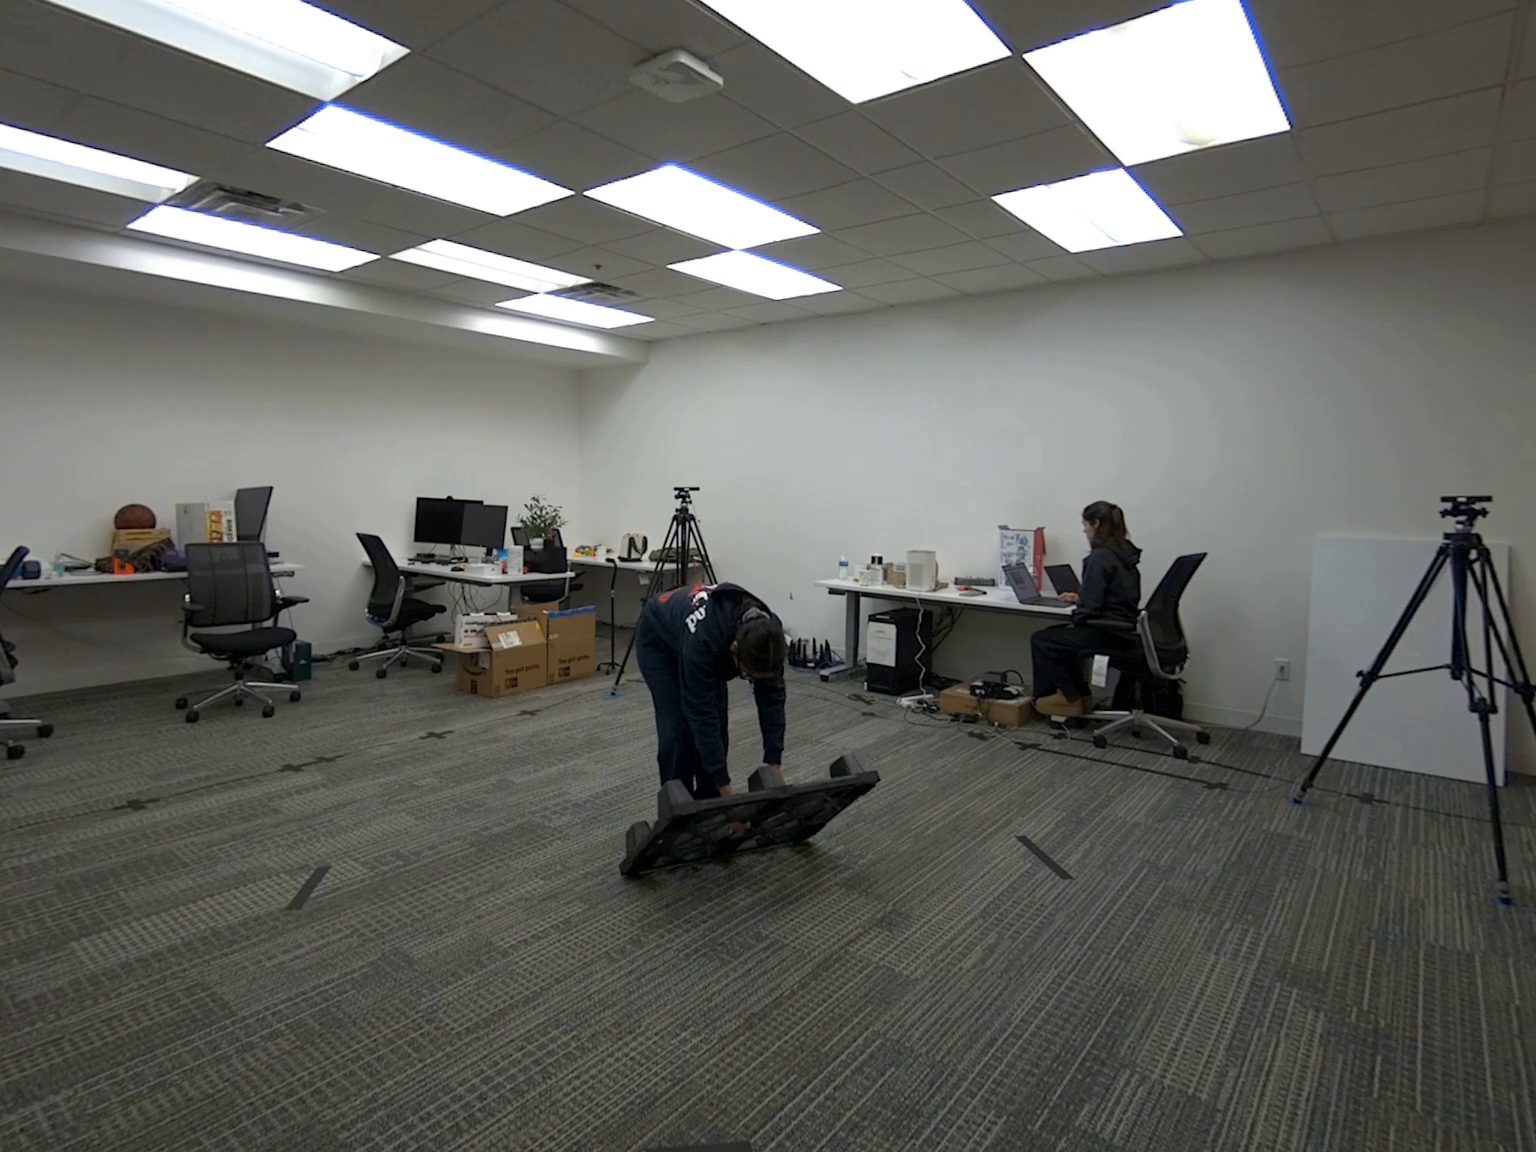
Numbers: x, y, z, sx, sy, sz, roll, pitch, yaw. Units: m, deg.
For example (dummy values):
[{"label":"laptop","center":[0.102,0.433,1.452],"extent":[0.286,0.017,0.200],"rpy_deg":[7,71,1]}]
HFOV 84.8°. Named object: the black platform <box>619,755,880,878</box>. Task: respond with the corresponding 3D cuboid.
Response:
[{"label":"black platform","center":[-0.091,0.834,3.025],"extent":[0.785,0.148,0.601],"rpy_deg":[-1,-34,-28]}]
